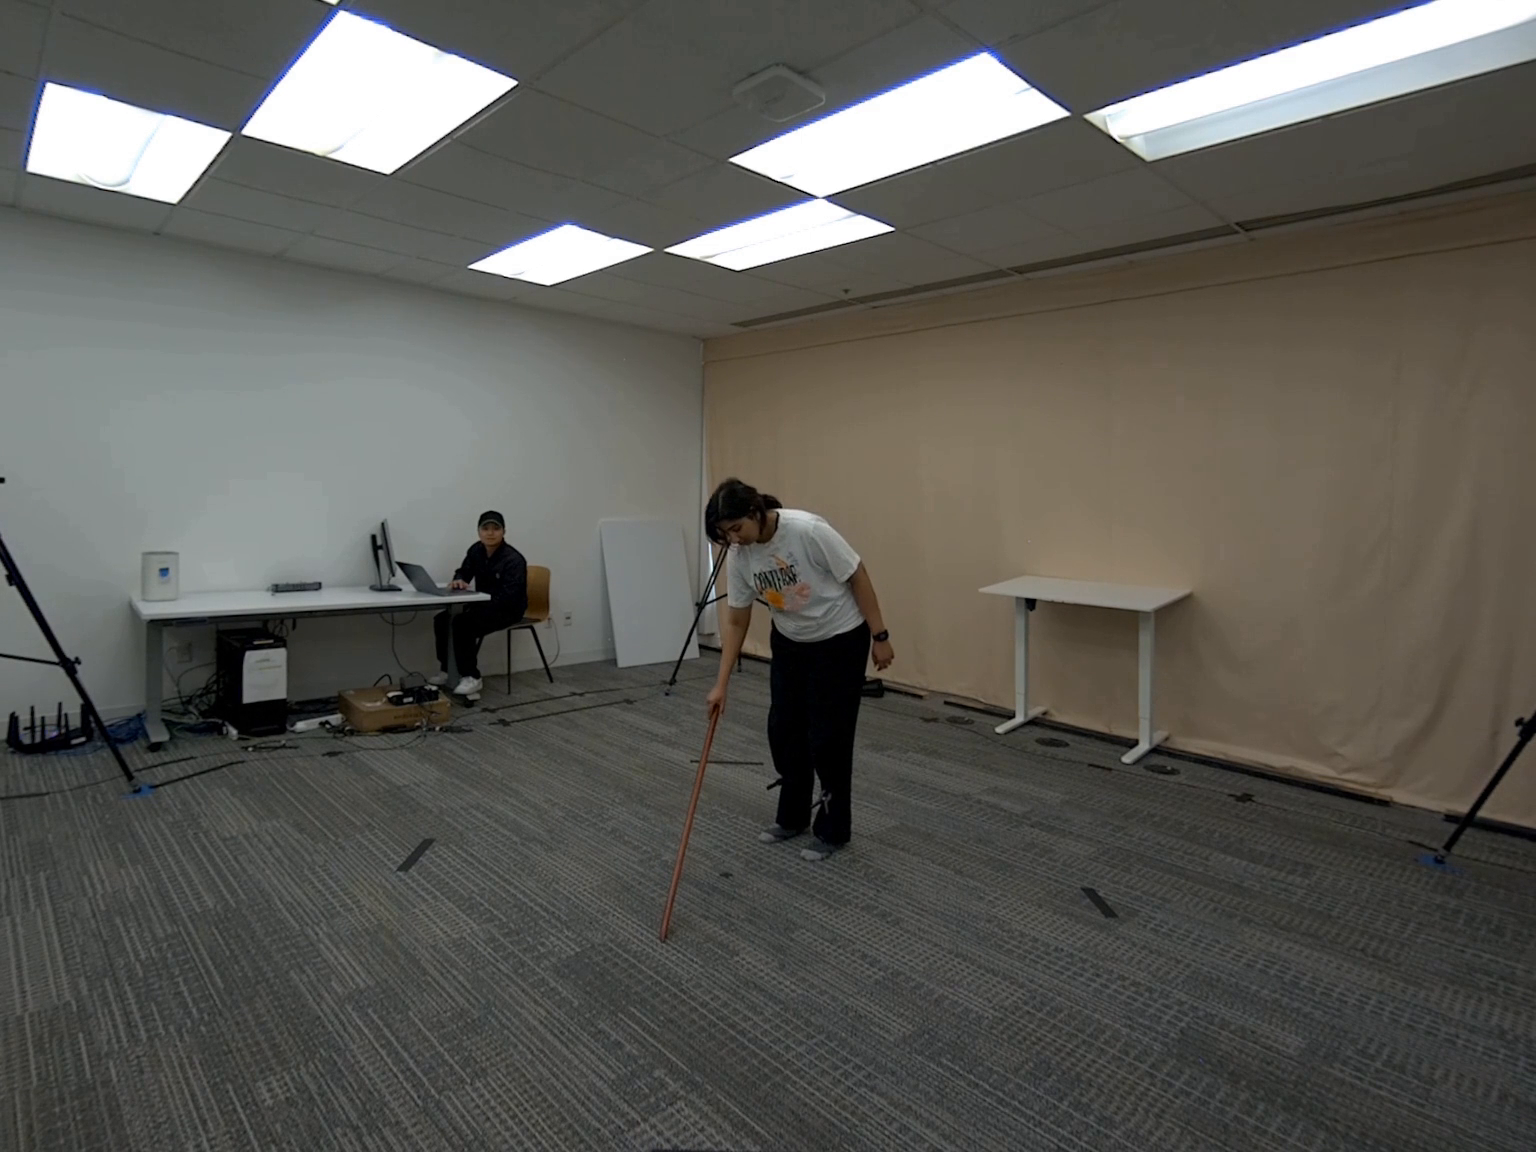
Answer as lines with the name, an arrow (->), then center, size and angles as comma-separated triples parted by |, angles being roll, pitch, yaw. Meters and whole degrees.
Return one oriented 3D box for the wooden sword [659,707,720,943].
wooden sword -> -0.276, 0.821, 3.026 | 0.051, 0.024, 1.042 | 16, 40, -6
